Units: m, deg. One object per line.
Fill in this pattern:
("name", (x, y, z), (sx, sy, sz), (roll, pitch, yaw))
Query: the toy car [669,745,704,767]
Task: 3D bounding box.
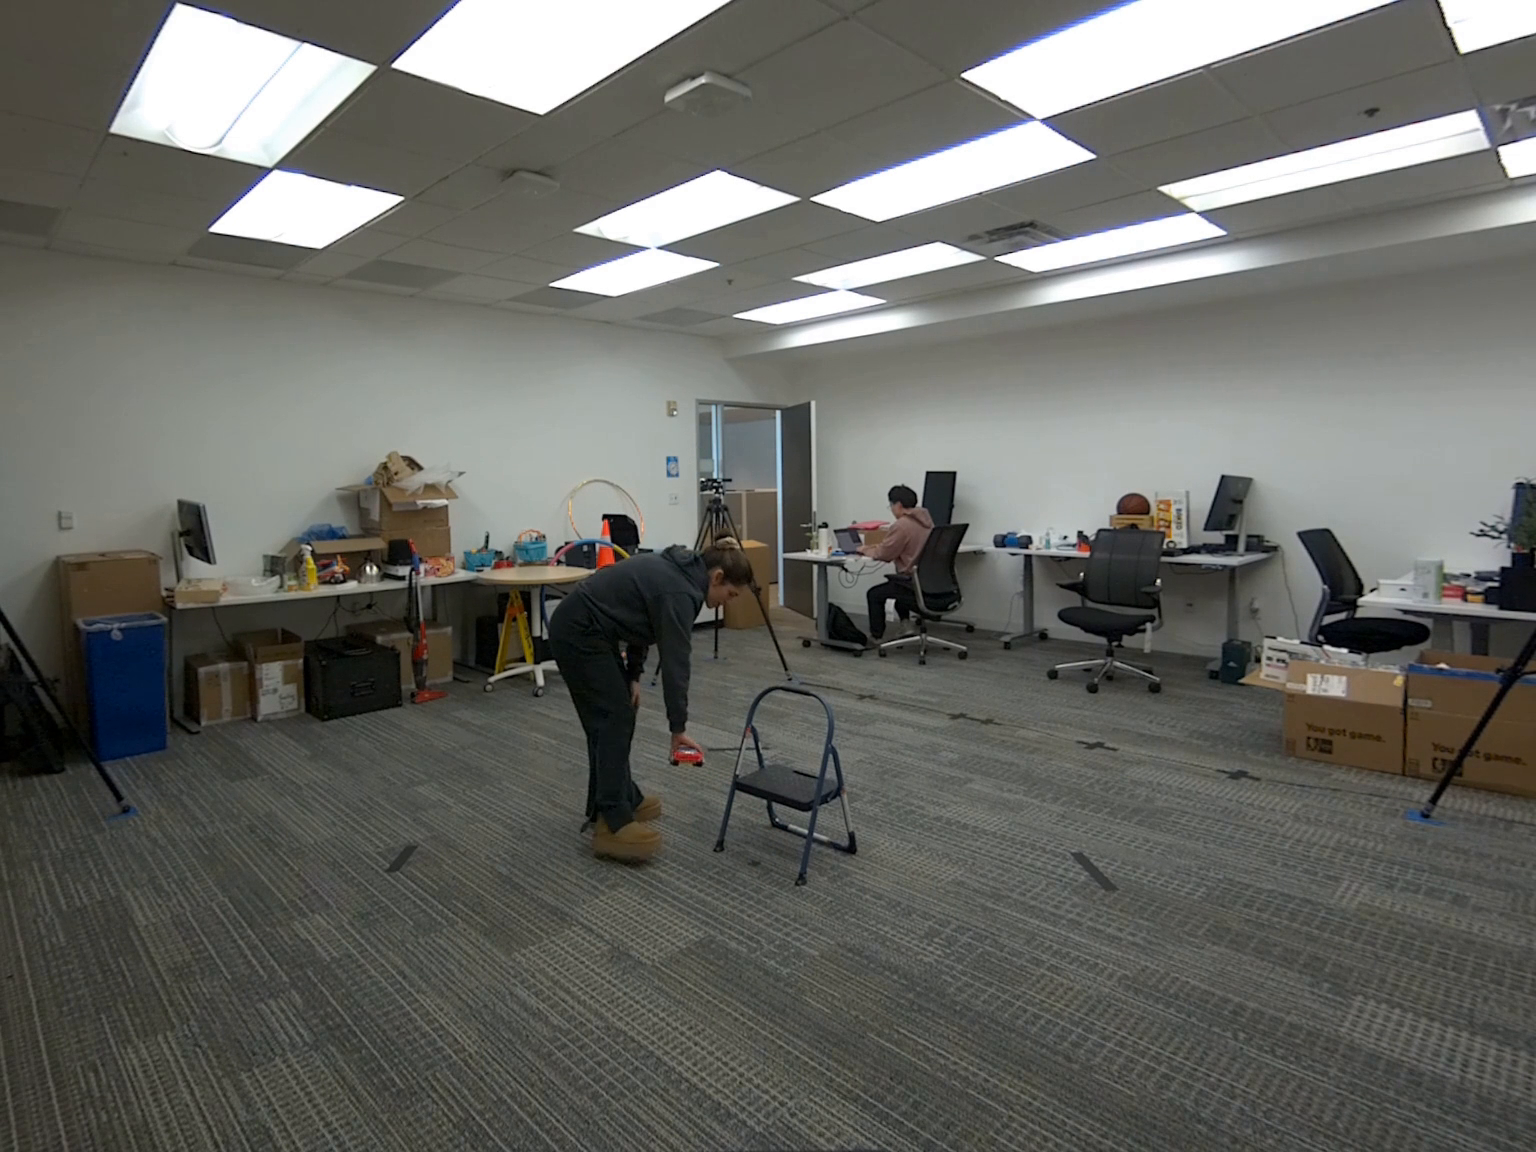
("toy car", (-0.311, 0.702, 3.274), (0.130, 0.083, 0.255), (5, 2, -2))
